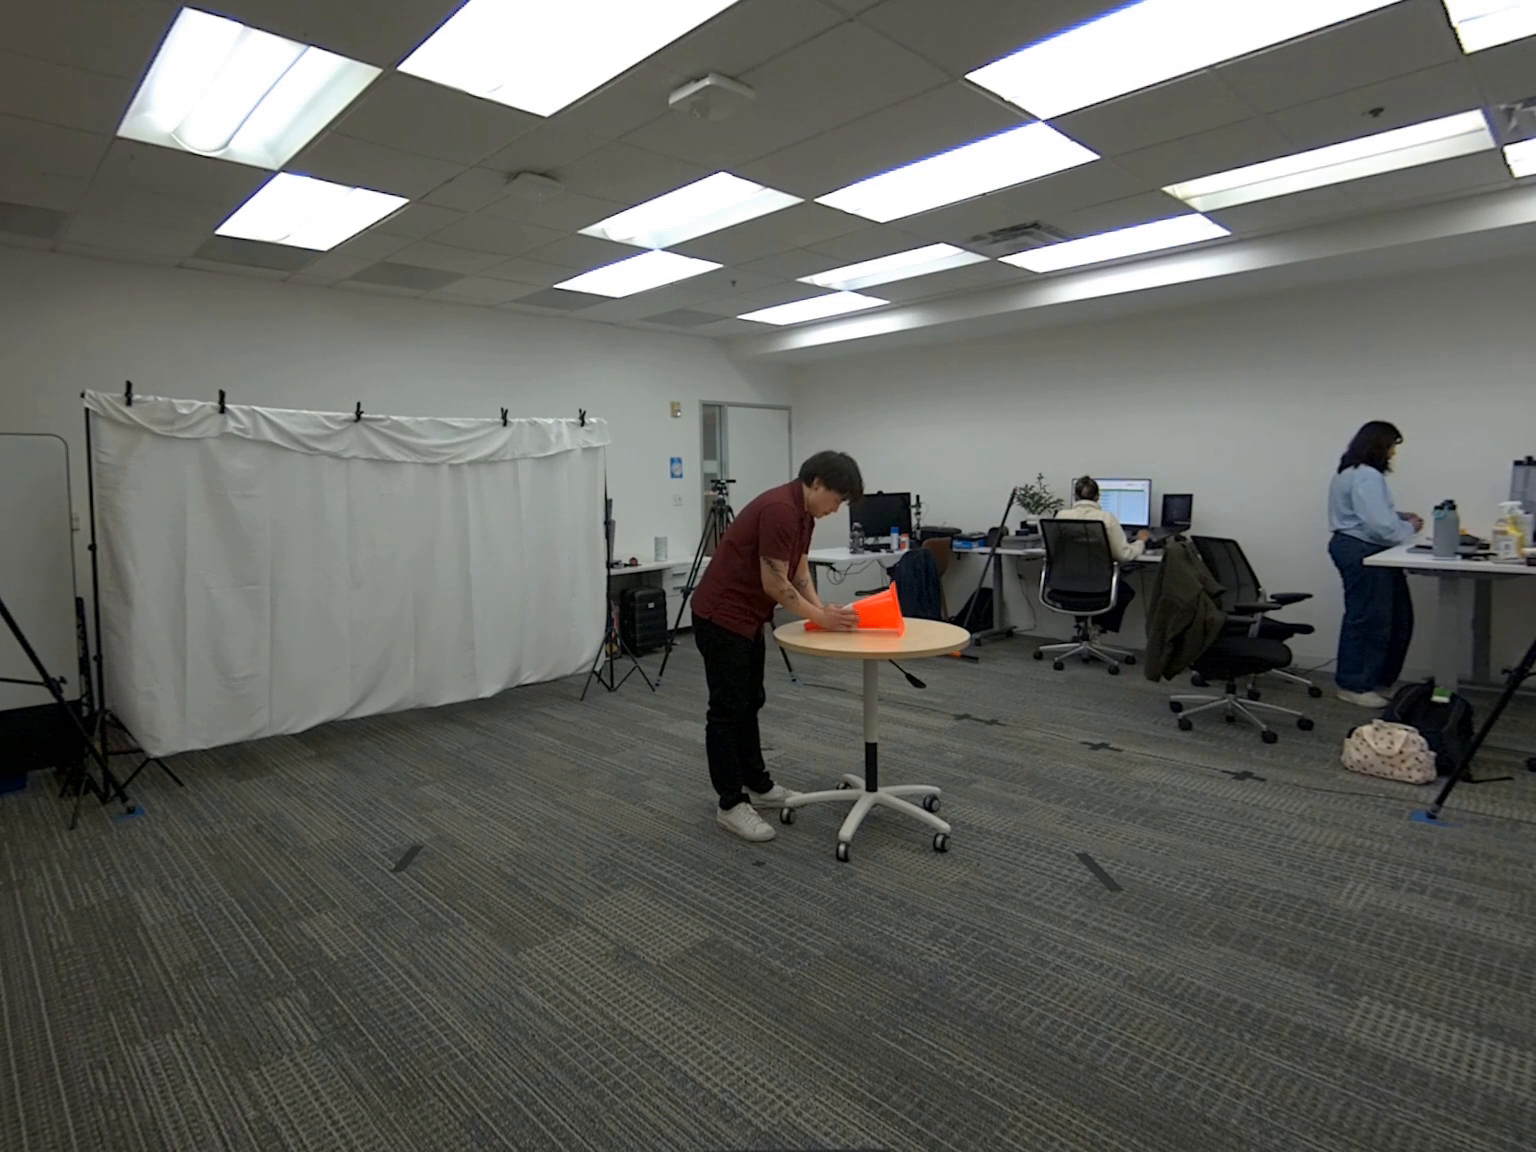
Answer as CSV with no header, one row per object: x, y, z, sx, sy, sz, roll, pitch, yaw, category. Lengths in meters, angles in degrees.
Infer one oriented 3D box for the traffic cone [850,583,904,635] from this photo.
0.328,0.168,3.414,0.386,0.206,0.201,-12,-3,8,traffic cone
